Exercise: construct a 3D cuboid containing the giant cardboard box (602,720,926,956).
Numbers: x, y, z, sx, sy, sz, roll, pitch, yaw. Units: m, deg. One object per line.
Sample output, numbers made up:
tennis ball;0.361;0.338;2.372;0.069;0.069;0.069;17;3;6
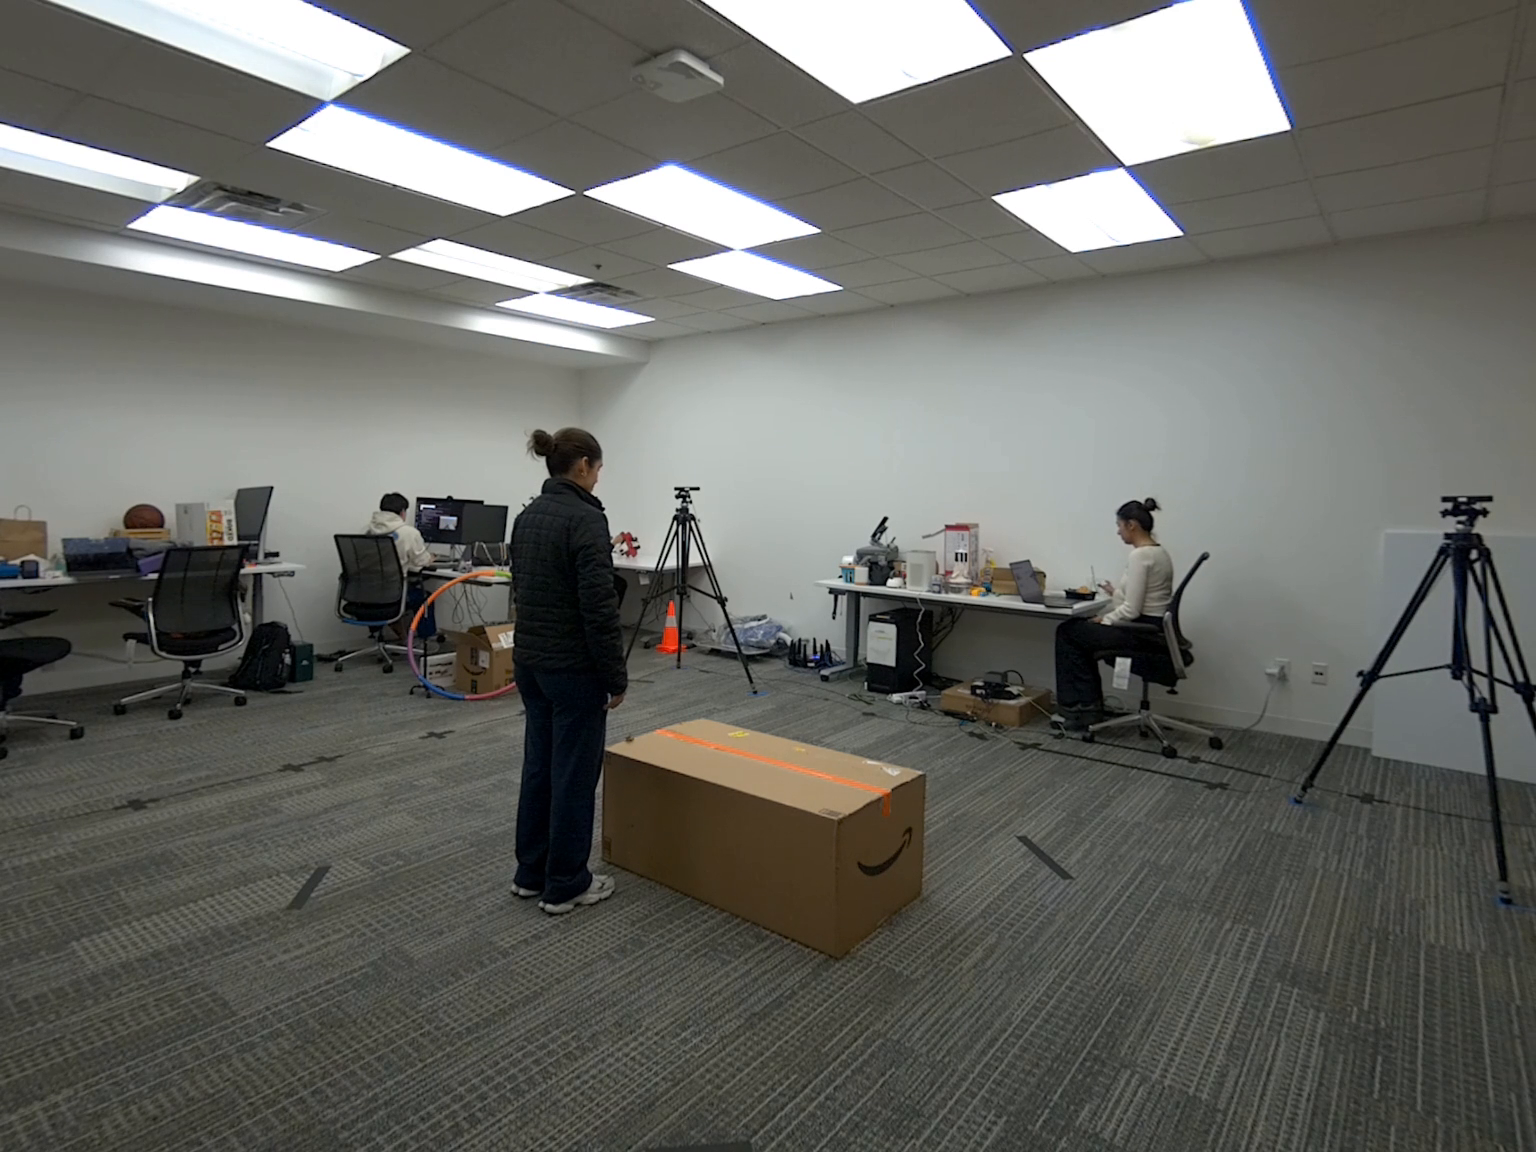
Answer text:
giant cardboard box;-0.024;0.865;3.060;1.062;0.445;0.567;6;8;38
